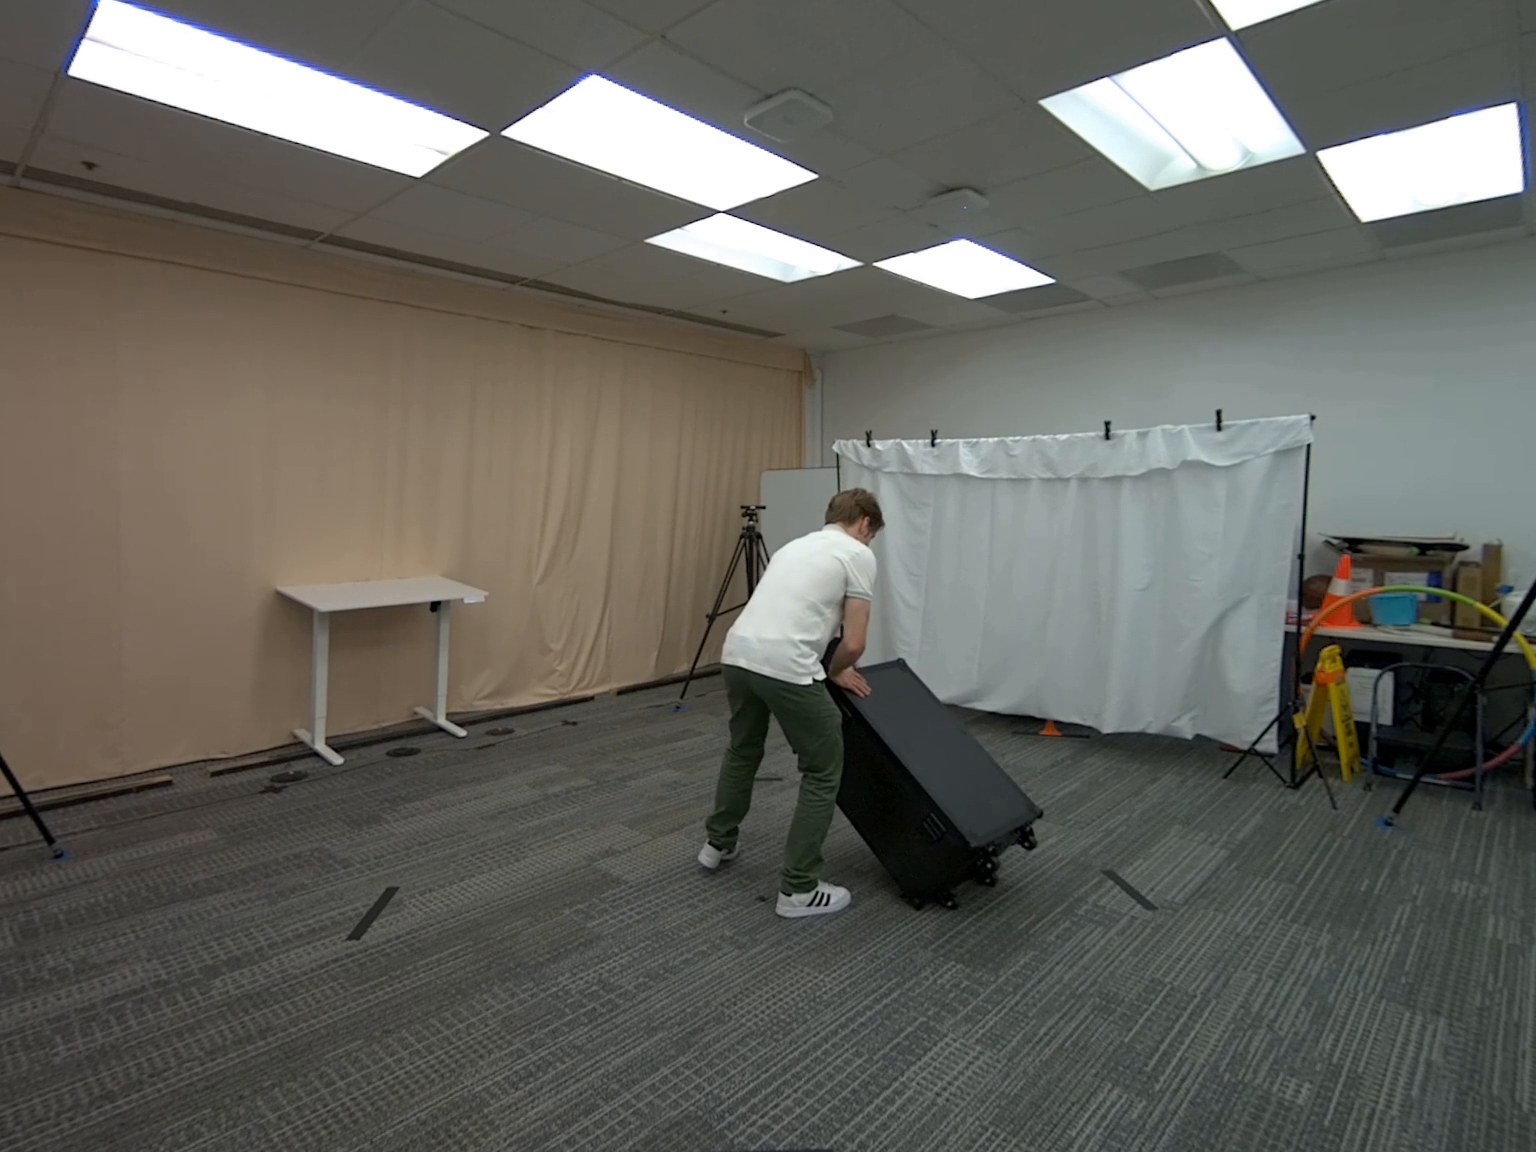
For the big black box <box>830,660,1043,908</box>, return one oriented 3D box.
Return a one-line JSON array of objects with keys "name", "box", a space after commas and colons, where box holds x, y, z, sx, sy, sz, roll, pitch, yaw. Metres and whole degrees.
[{"name": "big black box", "box": [0.551, 0.771, 3.155, 0.507, 0.385, 0.896, -2, 42, -45]}]
